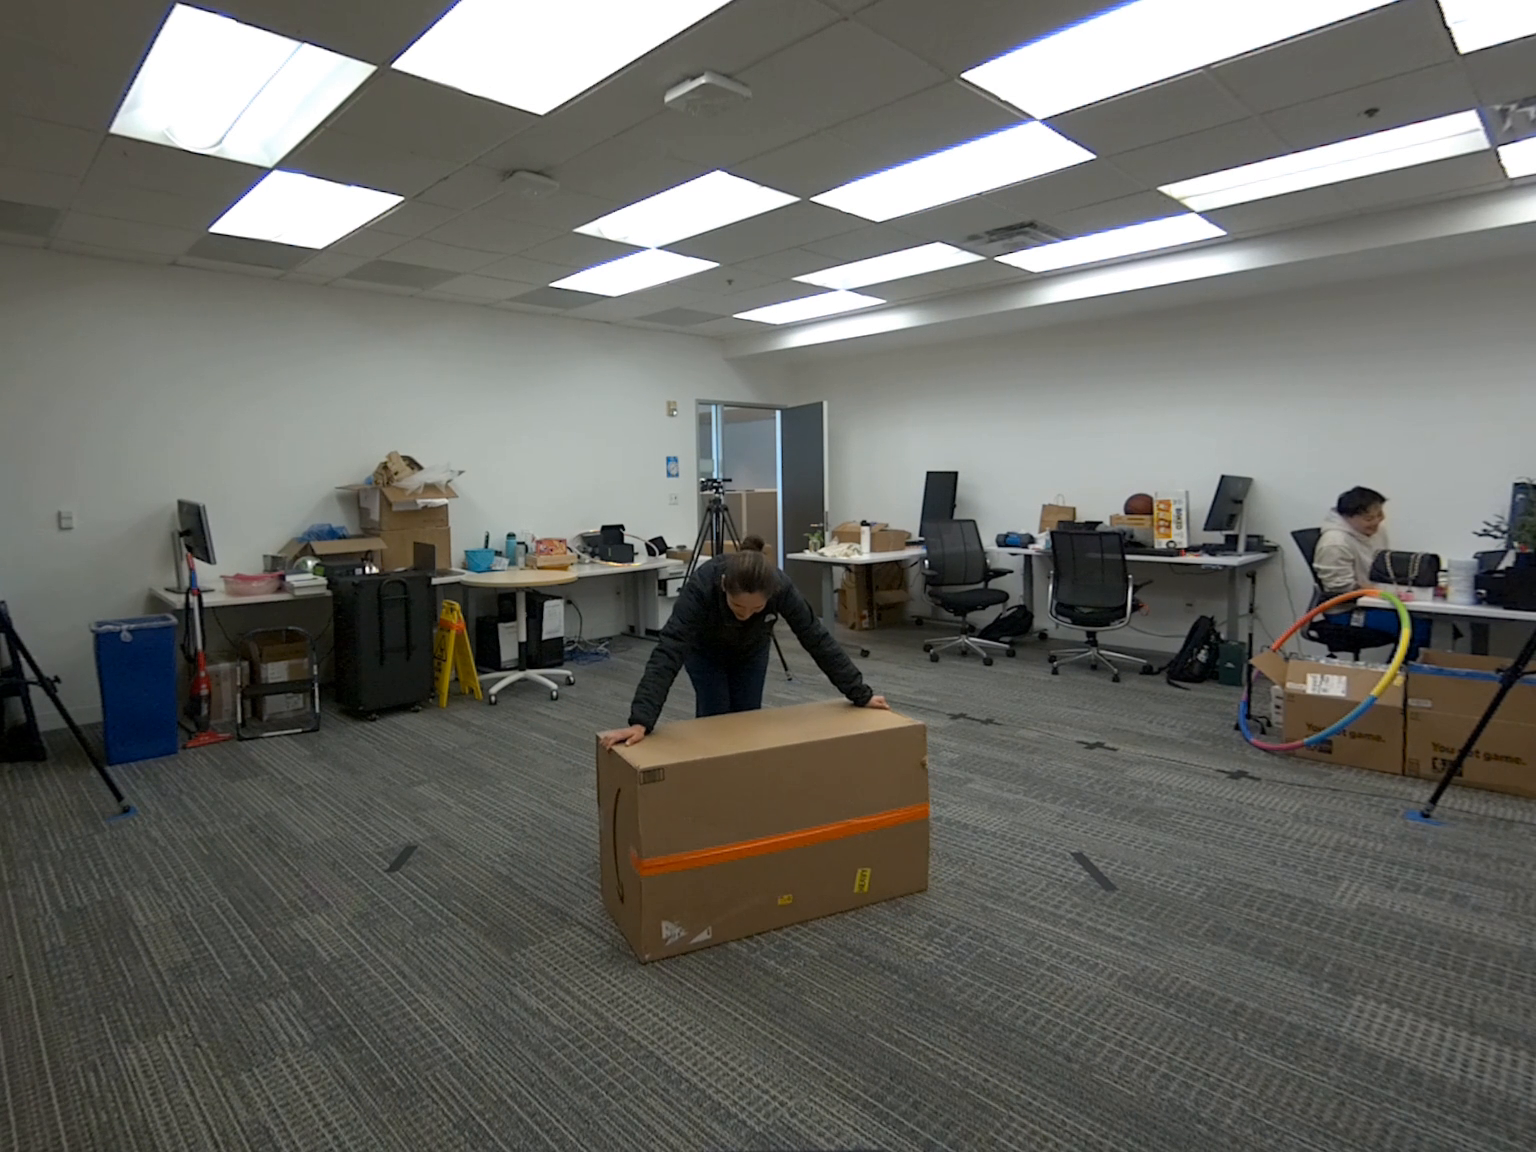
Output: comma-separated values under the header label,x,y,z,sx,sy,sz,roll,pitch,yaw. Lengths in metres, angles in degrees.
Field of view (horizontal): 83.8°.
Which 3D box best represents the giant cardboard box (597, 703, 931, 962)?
label,x,y,z,sx,sy,sz,roll,pitch,yaw
giant cardboard box,-0.015,0.787,2.856,1.006,0.582,0.457,-4,4,-24
